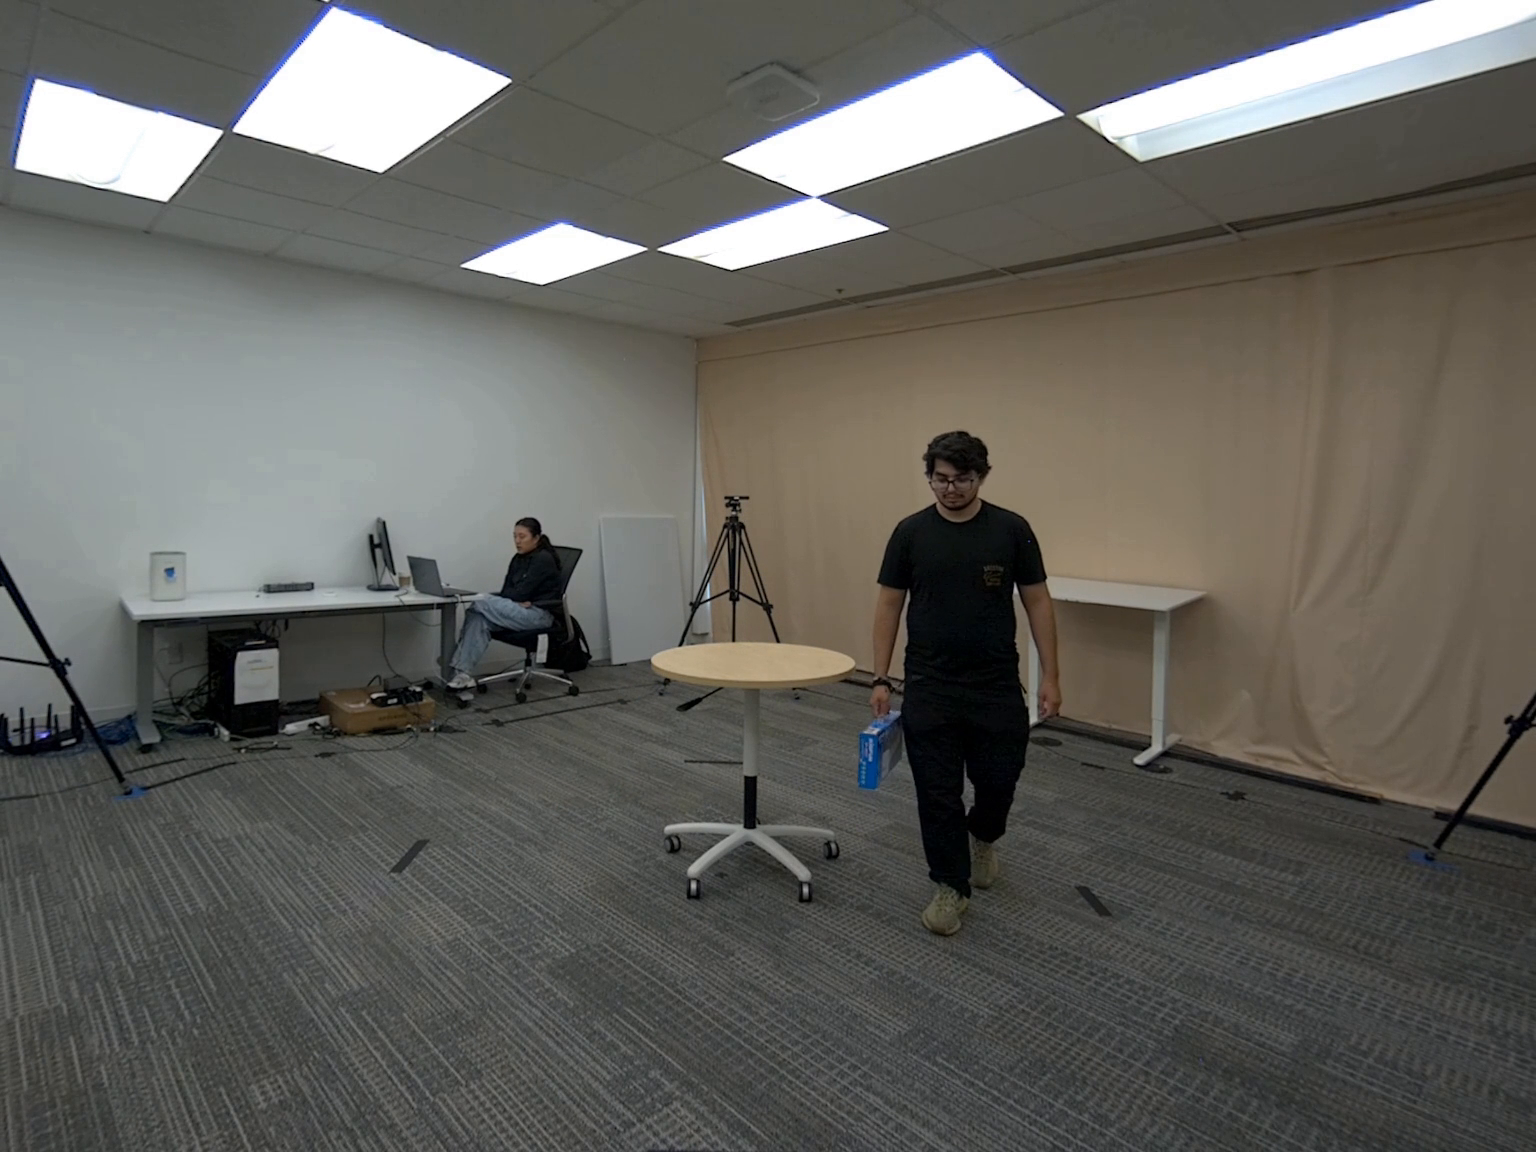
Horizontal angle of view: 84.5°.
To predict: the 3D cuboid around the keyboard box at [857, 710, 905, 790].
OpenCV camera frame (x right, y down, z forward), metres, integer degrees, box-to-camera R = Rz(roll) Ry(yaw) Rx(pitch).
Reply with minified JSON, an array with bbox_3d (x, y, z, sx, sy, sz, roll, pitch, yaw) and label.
[{"bbox_3d":[0.387,0.577,2.859,0.060,0.176,0.430,2,2,22],"label":"keyboard box"}]
